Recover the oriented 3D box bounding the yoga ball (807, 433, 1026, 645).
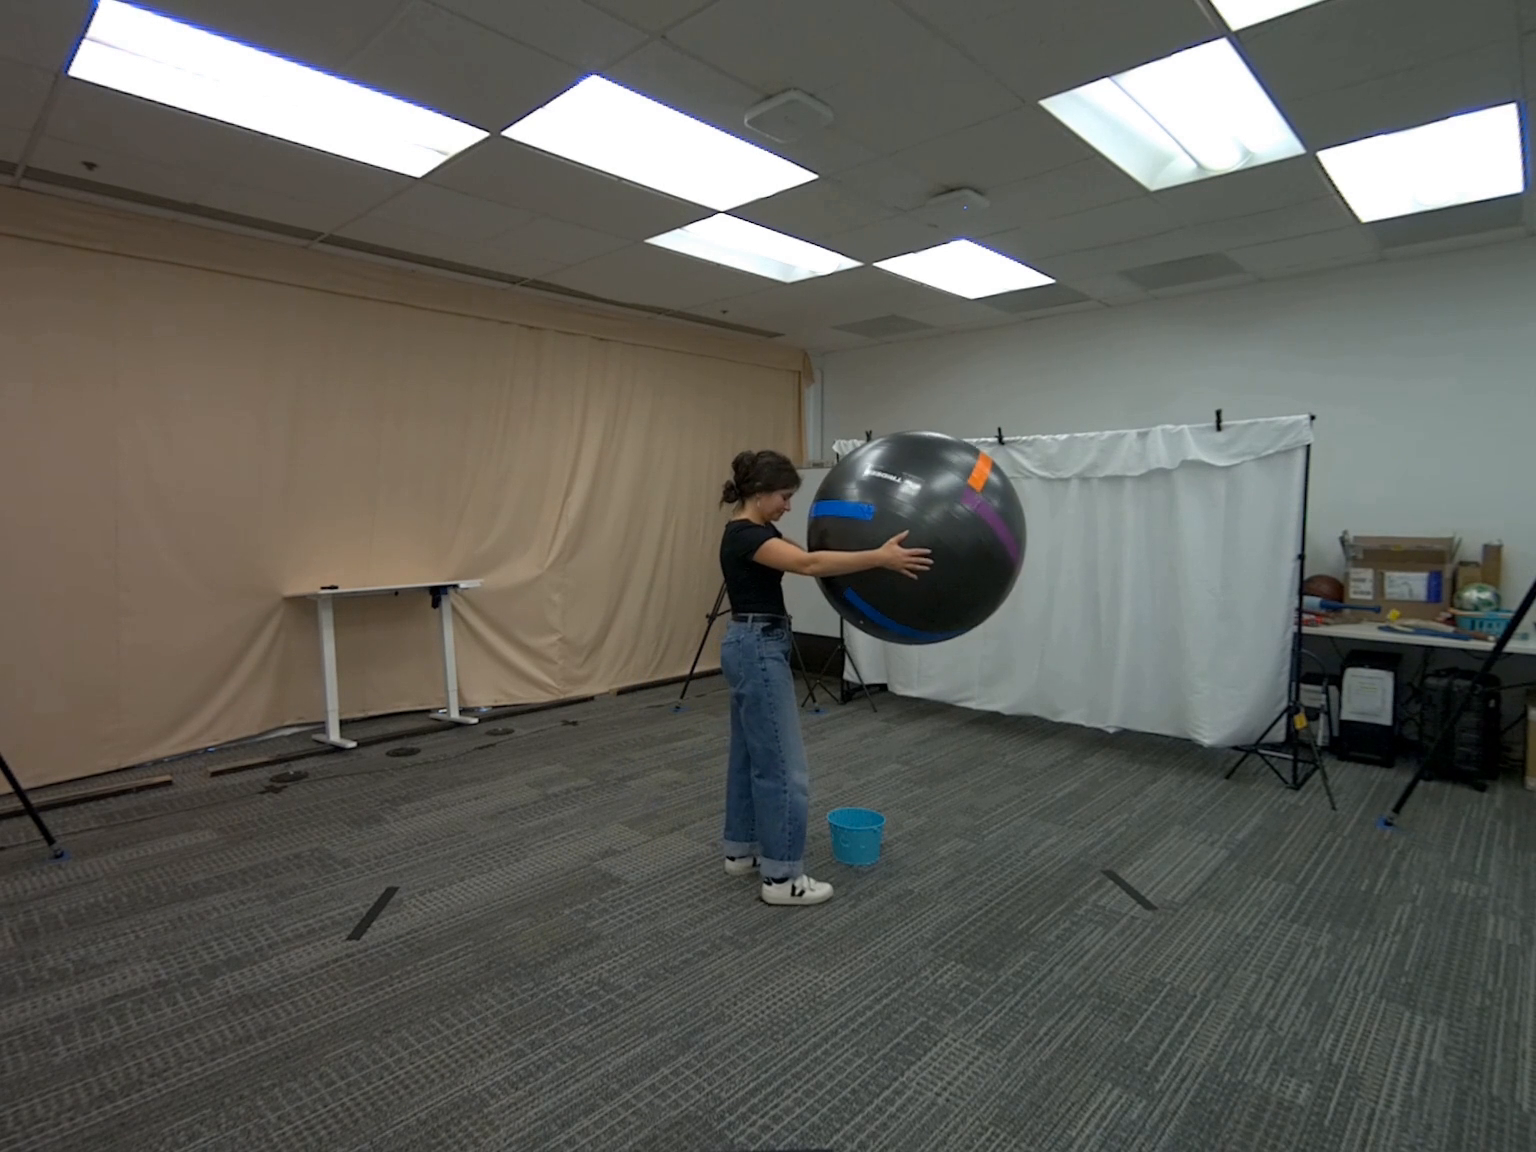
[{"bbox_3d":[0.540,-0.129,2.994,0.757,0.756,0.760,0,4,-2],"label":"yoga ball"}]
